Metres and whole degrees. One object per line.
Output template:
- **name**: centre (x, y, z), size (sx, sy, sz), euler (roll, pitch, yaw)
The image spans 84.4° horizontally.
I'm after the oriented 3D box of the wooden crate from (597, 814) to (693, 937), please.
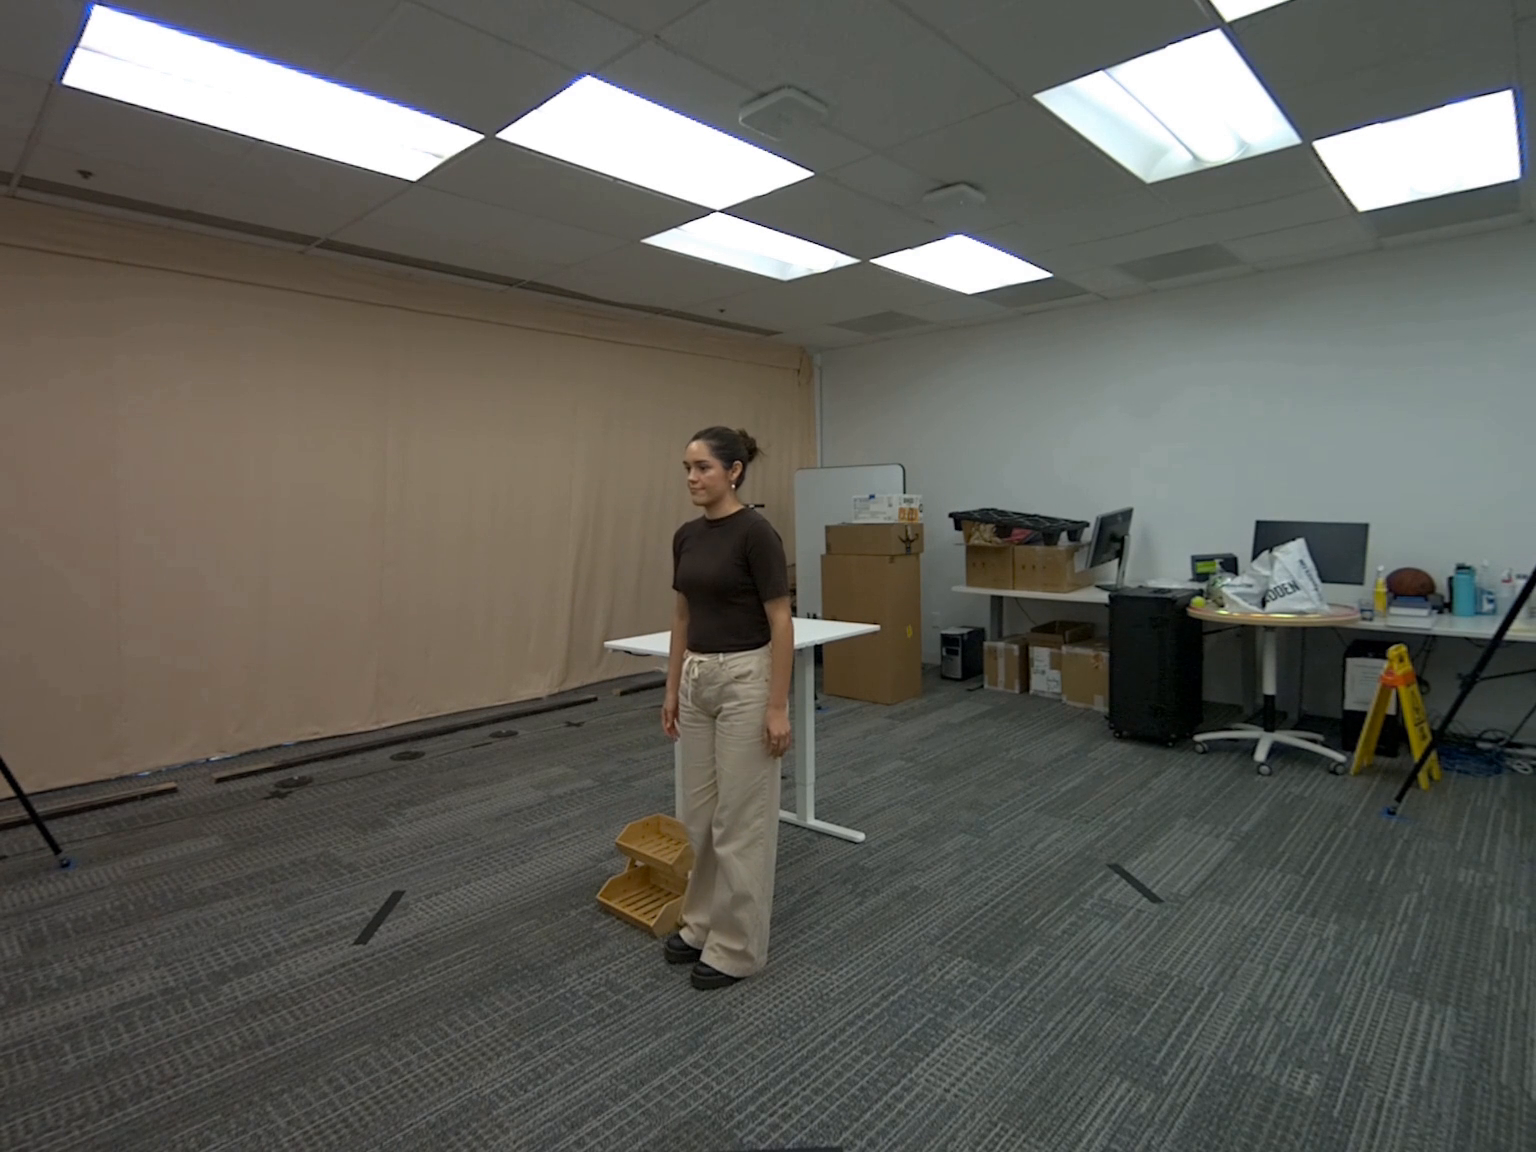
- **wooden crate**: centre (-0.384, 1.022, 2.907), size (0.335, 0.273, 0.293), euler (2, 5, 42)
